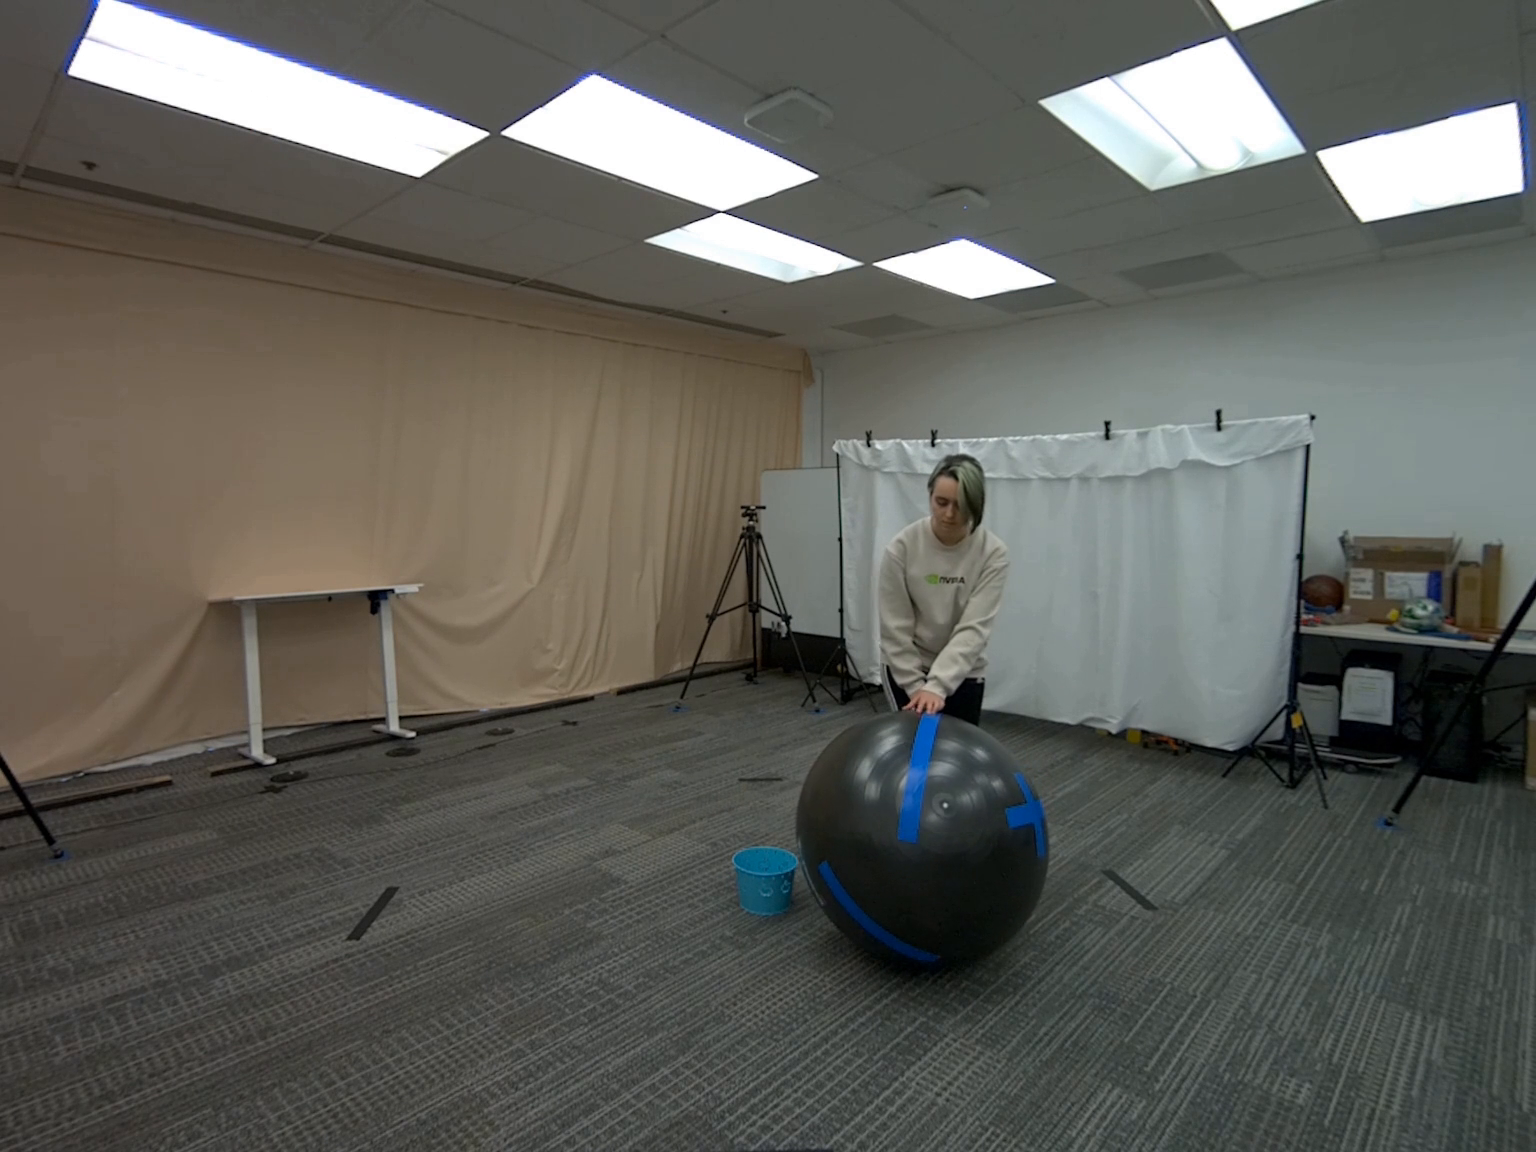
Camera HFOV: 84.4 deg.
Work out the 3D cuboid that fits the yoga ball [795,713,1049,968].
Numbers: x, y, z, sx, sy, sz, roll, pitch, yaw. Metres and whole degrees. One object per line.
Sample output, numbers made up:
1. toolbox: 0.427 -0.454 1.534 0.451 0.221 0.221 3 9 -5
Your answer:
1. yoga ball: 0.475 0.812 2.611 0.757 0.756 0.760 0 4 -2
